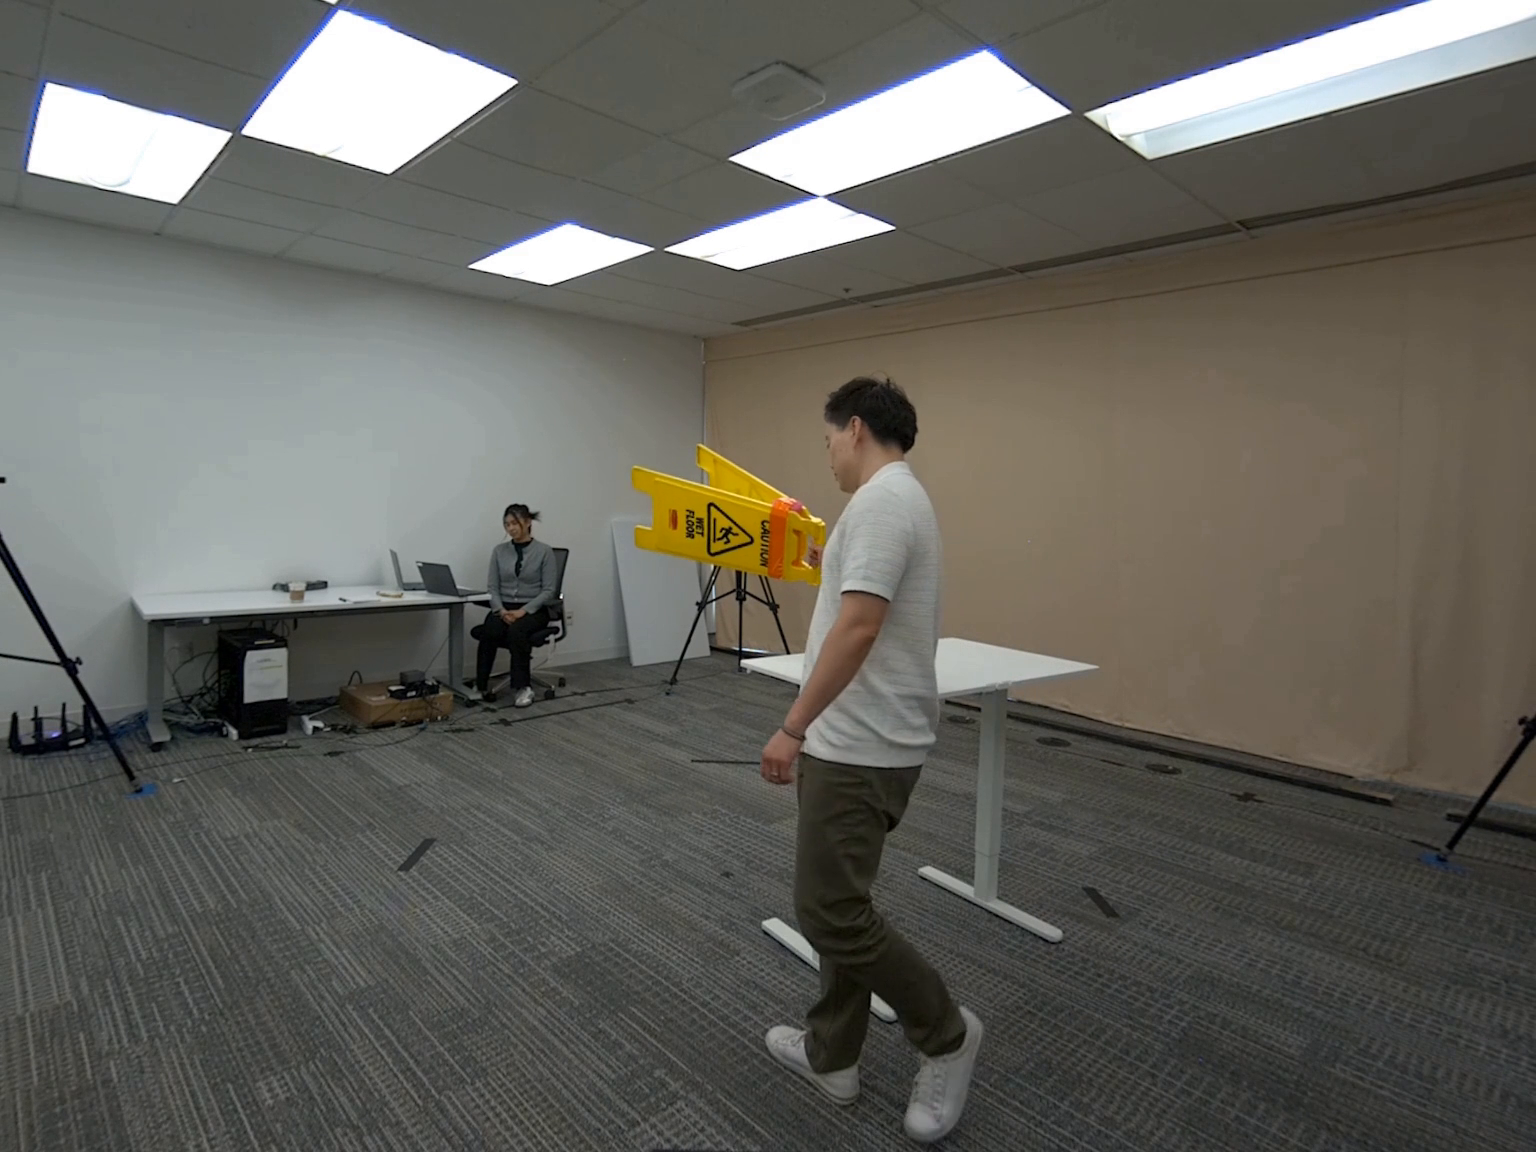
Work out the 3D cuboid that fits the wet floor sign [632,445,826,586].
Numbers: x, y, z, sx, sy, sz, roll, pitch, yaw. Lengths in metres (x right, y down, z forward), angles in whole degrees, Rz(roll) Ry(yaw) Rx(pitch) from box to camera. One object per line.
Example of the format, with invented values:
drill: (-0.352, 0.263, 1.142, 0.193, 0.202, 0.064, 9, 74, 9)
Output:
wet floor sign: (-0.081, -0.160, 2.568, 0.665, 0.277, 0.286, 23, 34, 36)
